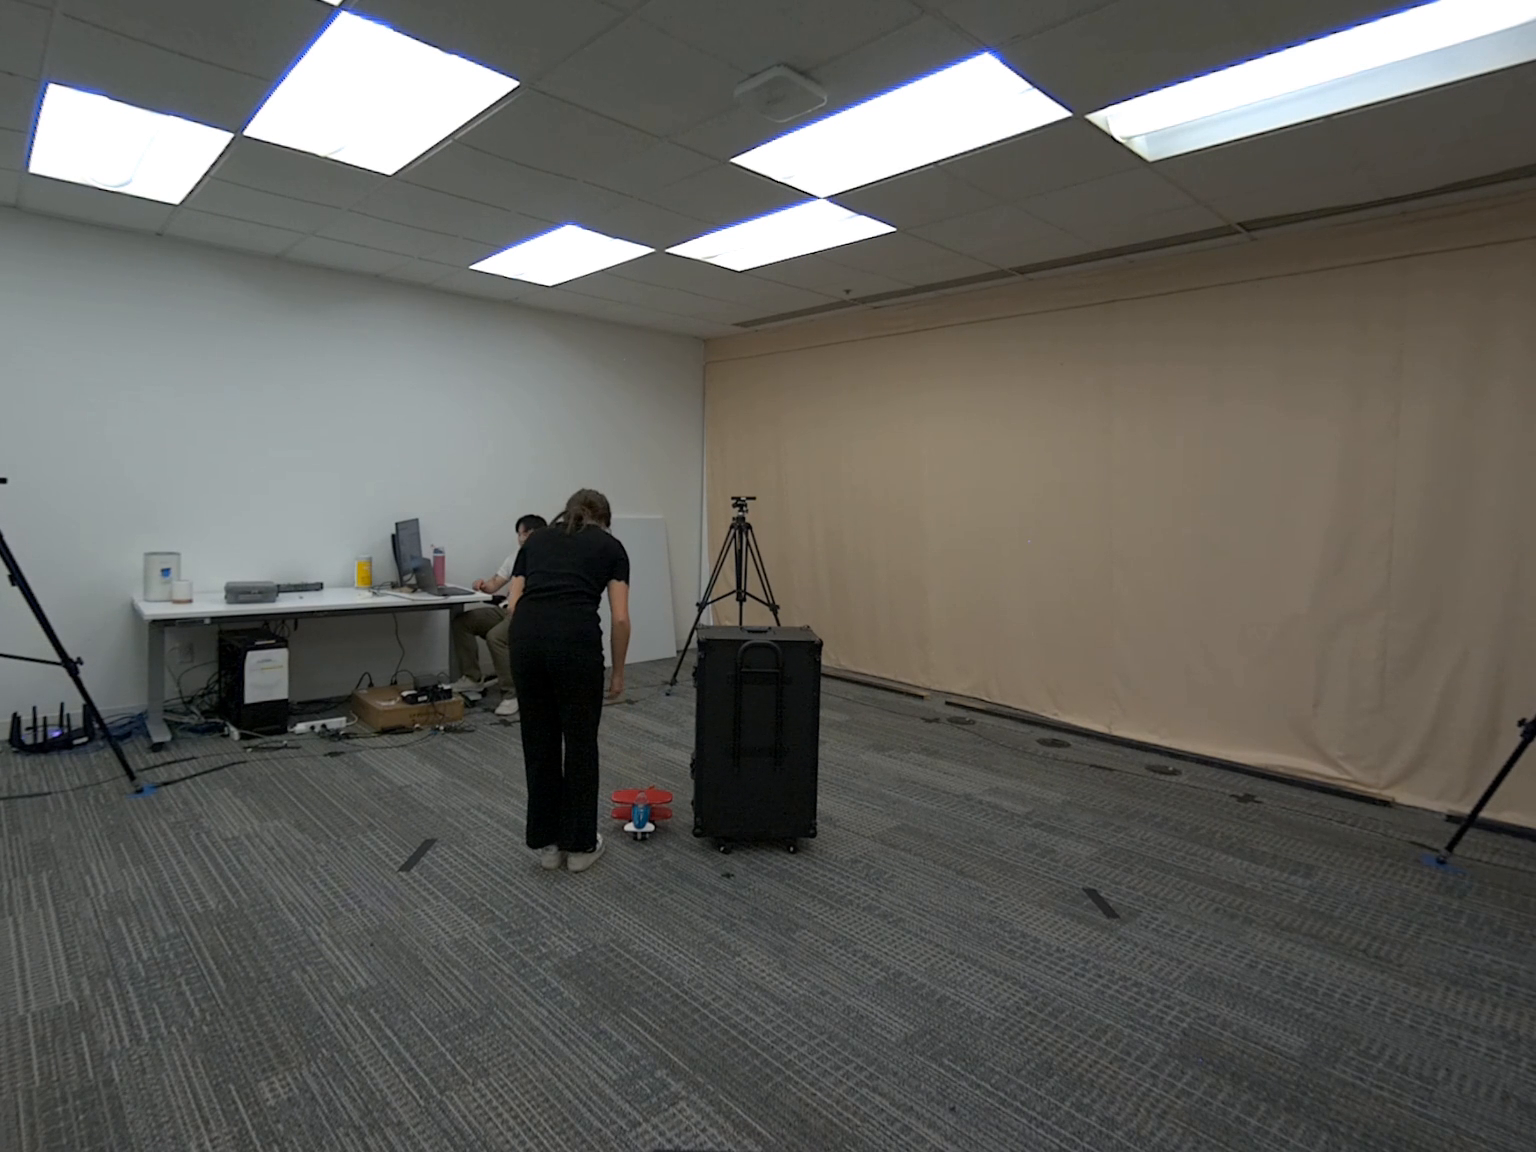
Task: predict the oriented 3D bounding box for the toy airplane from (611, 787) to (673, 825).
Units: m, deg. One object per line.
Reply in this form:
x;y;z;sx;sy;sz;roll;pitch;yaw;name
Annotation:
-0.513;0.983;3.500;0.246;0.156;0.265;-2;5;-31;toy airplane
